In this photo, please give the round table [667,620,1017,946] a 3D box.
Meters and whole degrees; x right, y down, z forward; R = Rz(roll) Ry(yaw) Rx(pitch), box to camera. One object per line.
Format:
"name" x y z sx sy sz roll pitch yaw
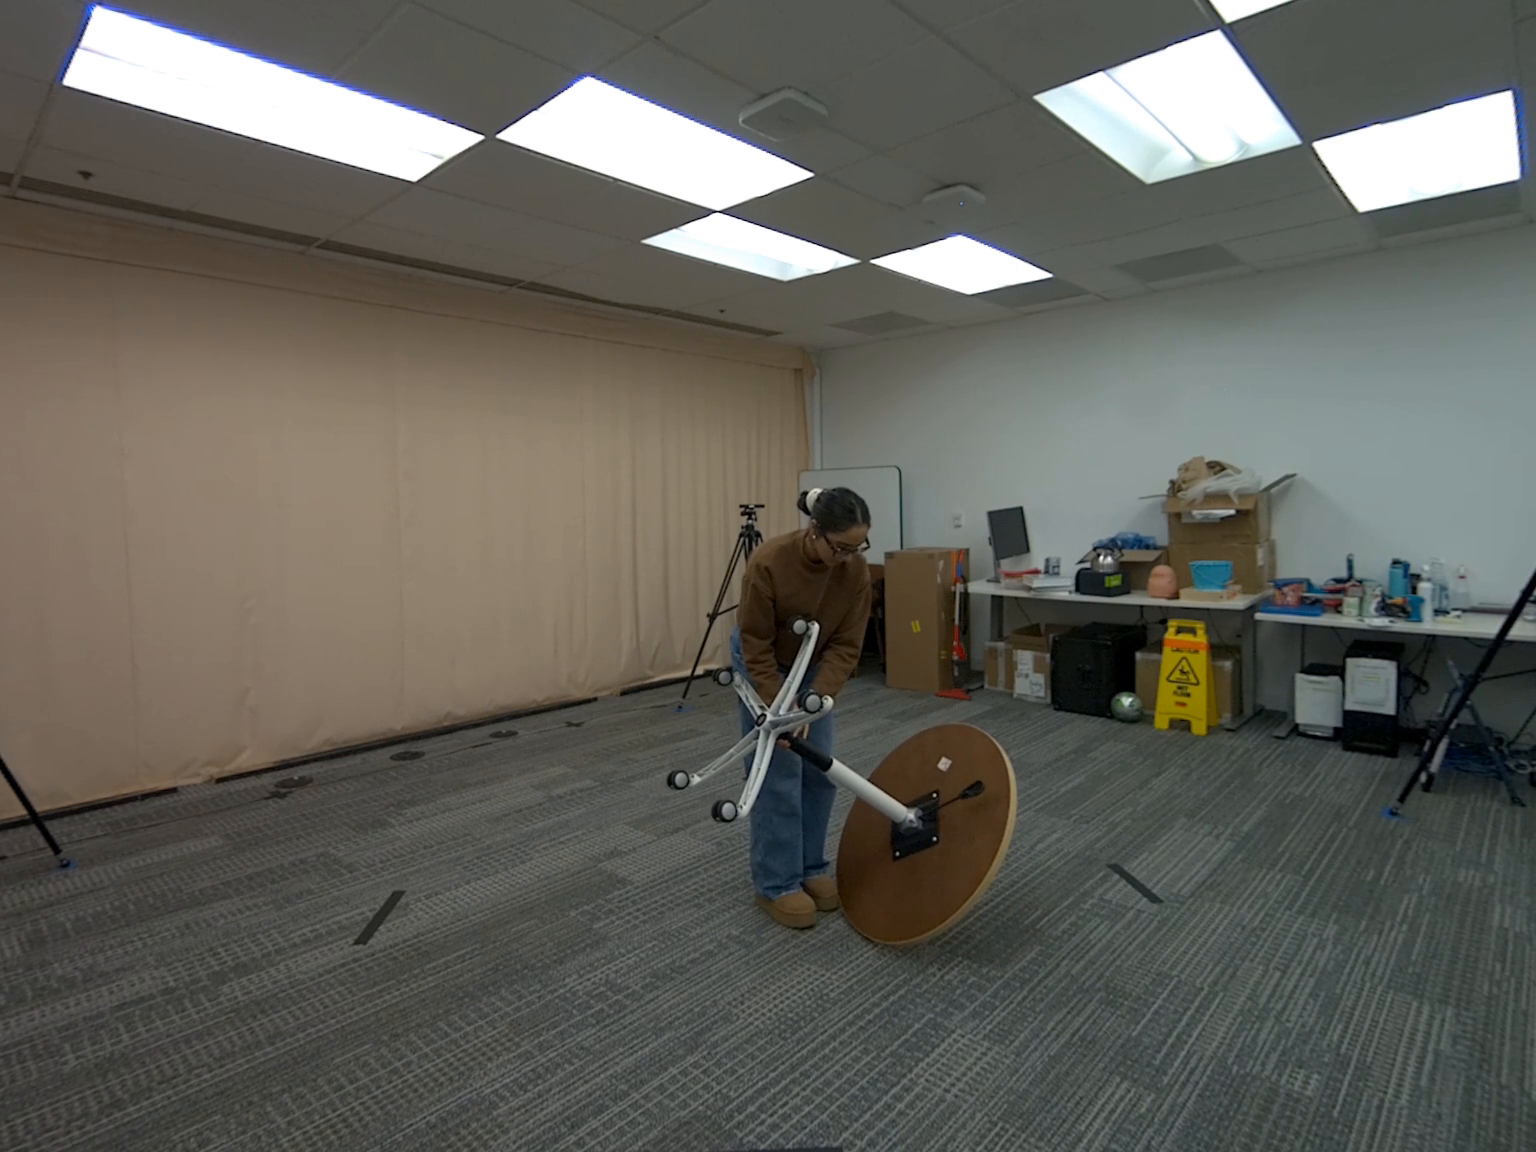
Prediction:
"round table" 0.226 0.621 2.673 0.778 0.763 0.780 36 -8 -18
